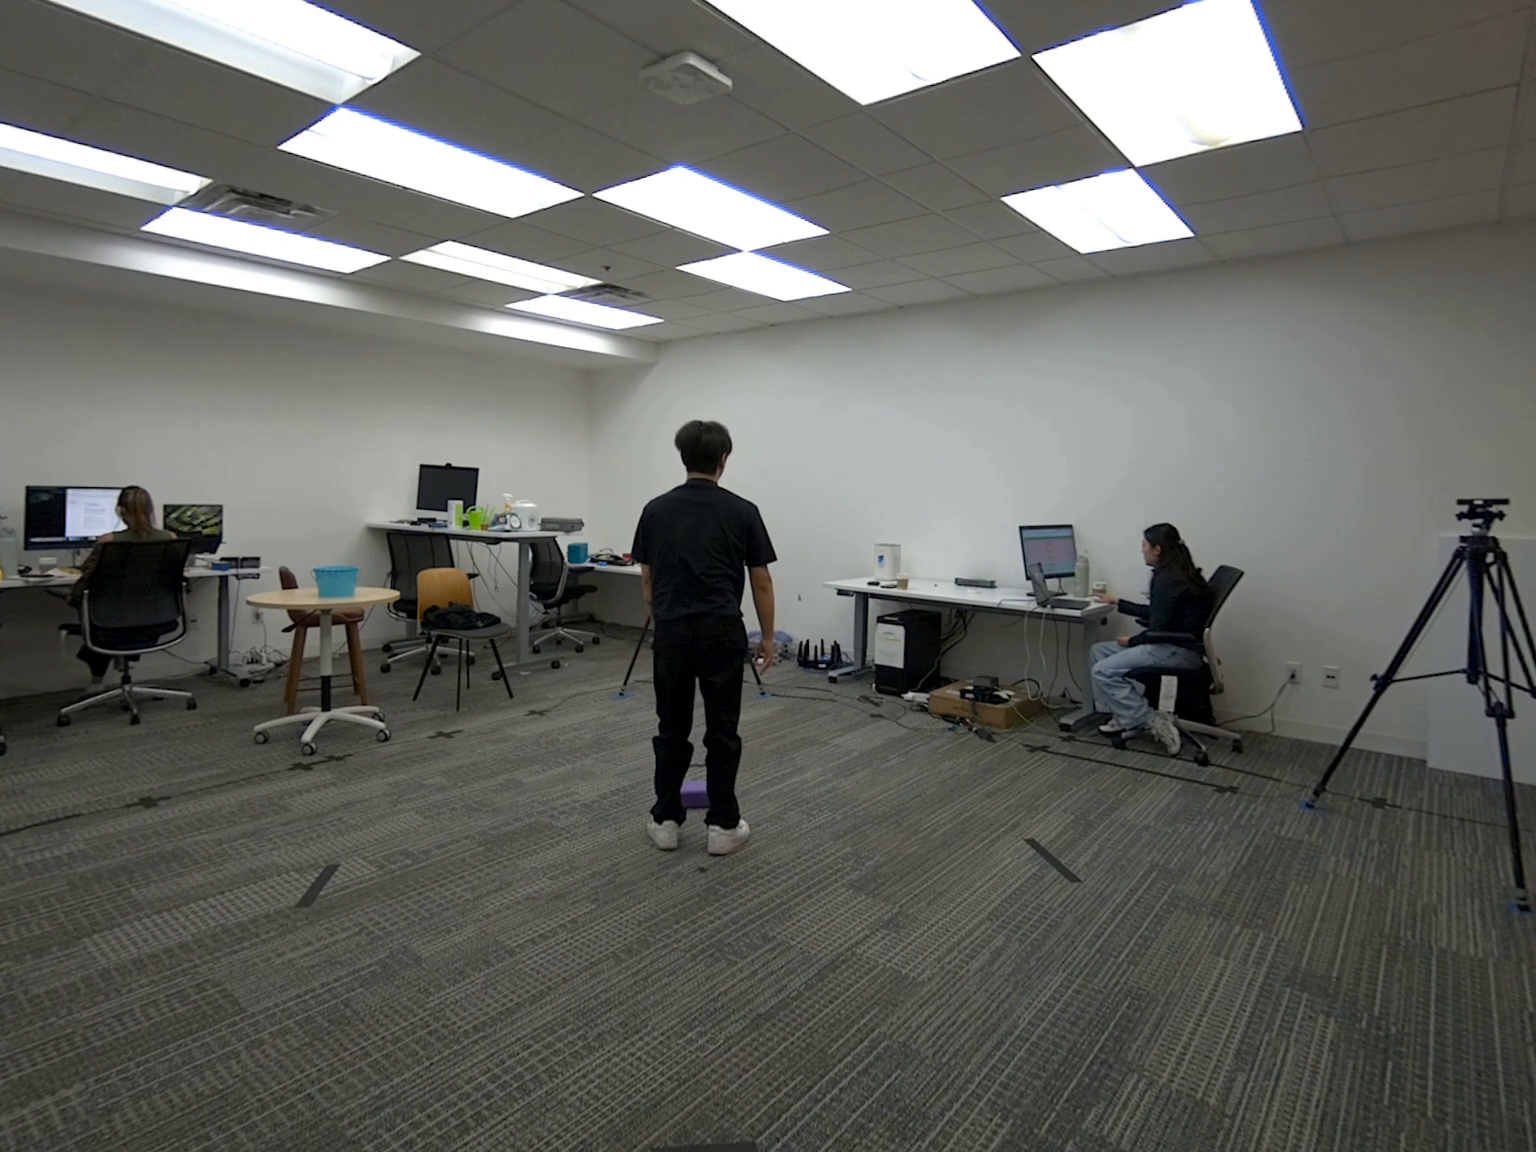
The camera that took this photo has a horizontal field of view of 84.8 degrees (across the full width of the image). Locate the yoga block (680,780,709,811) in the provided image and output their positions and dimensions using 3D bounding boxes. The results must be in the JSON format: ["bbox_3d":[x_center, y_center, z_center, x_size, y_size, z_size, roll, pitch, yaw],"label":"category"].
[{"bbox_3d":[-0.320,0.957,3.769,0.227,0.076,0.151,-1,6,-8],"label":"yoga block"}]
